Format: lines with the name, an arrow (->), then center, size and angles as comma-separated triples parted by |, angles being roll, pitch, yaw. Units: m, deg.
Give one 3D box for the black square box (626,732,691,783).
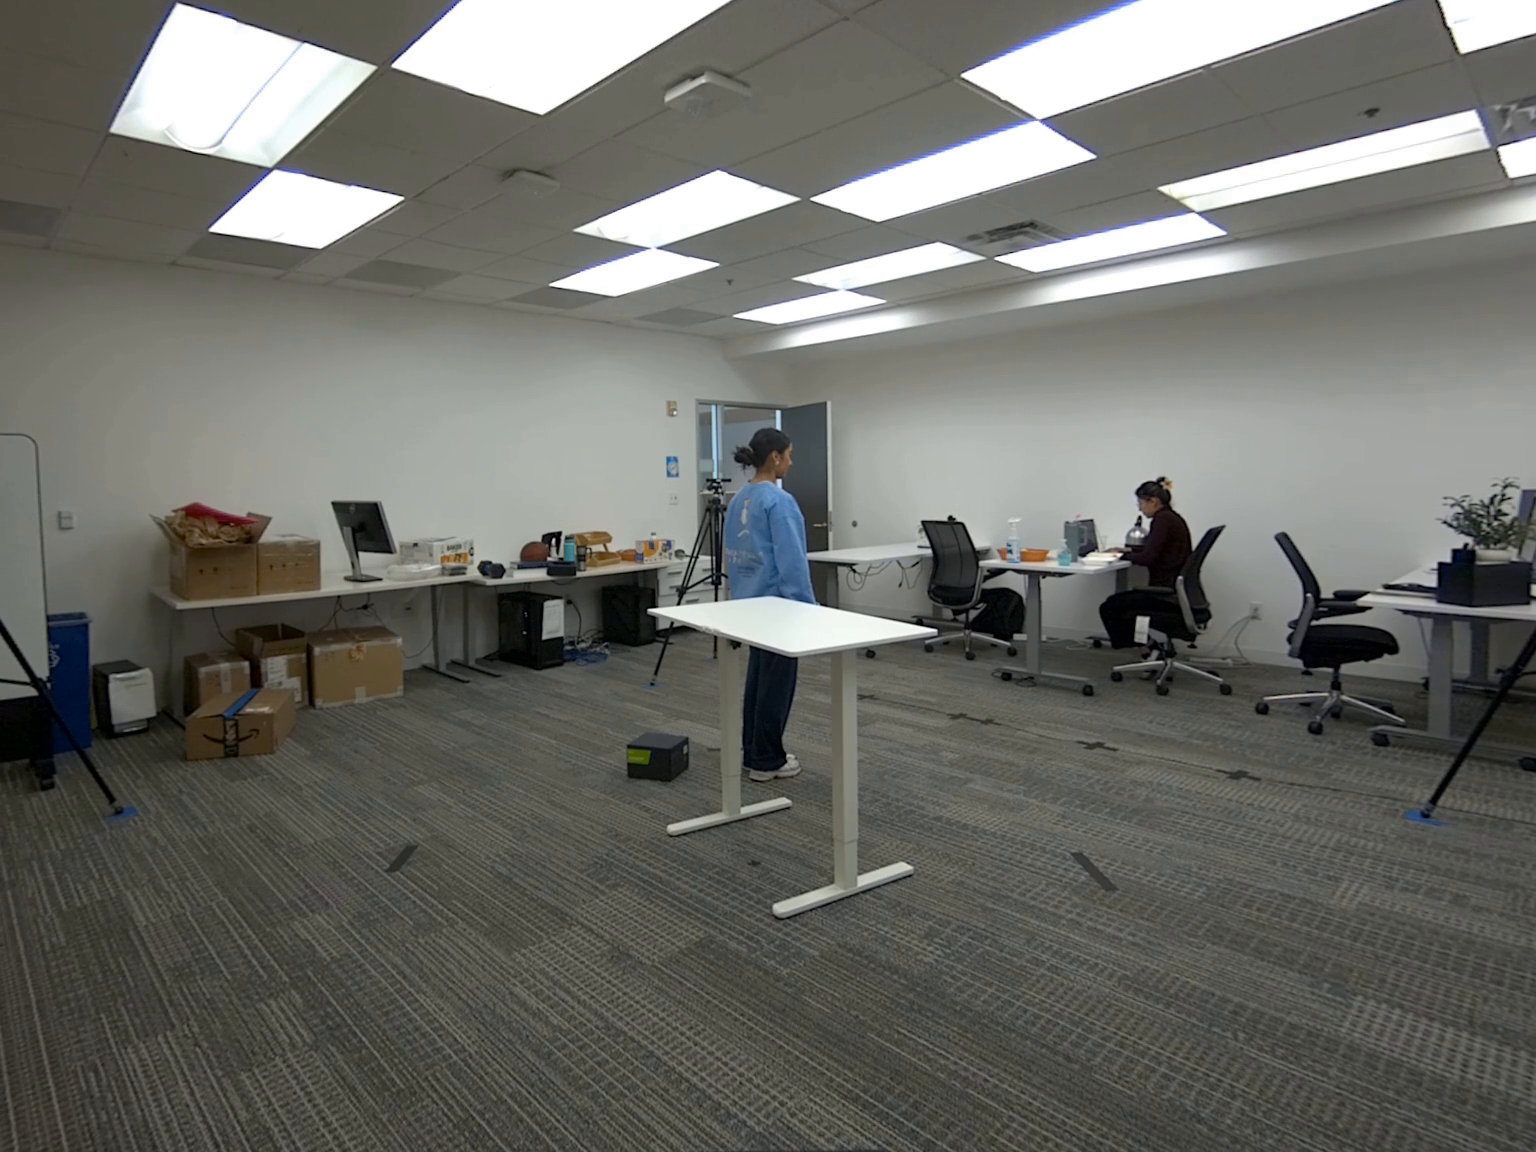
black square box -> -0.528, 0.861, 4.095 | 0.232, 0.155, 0.214 | 1, 5, 20
